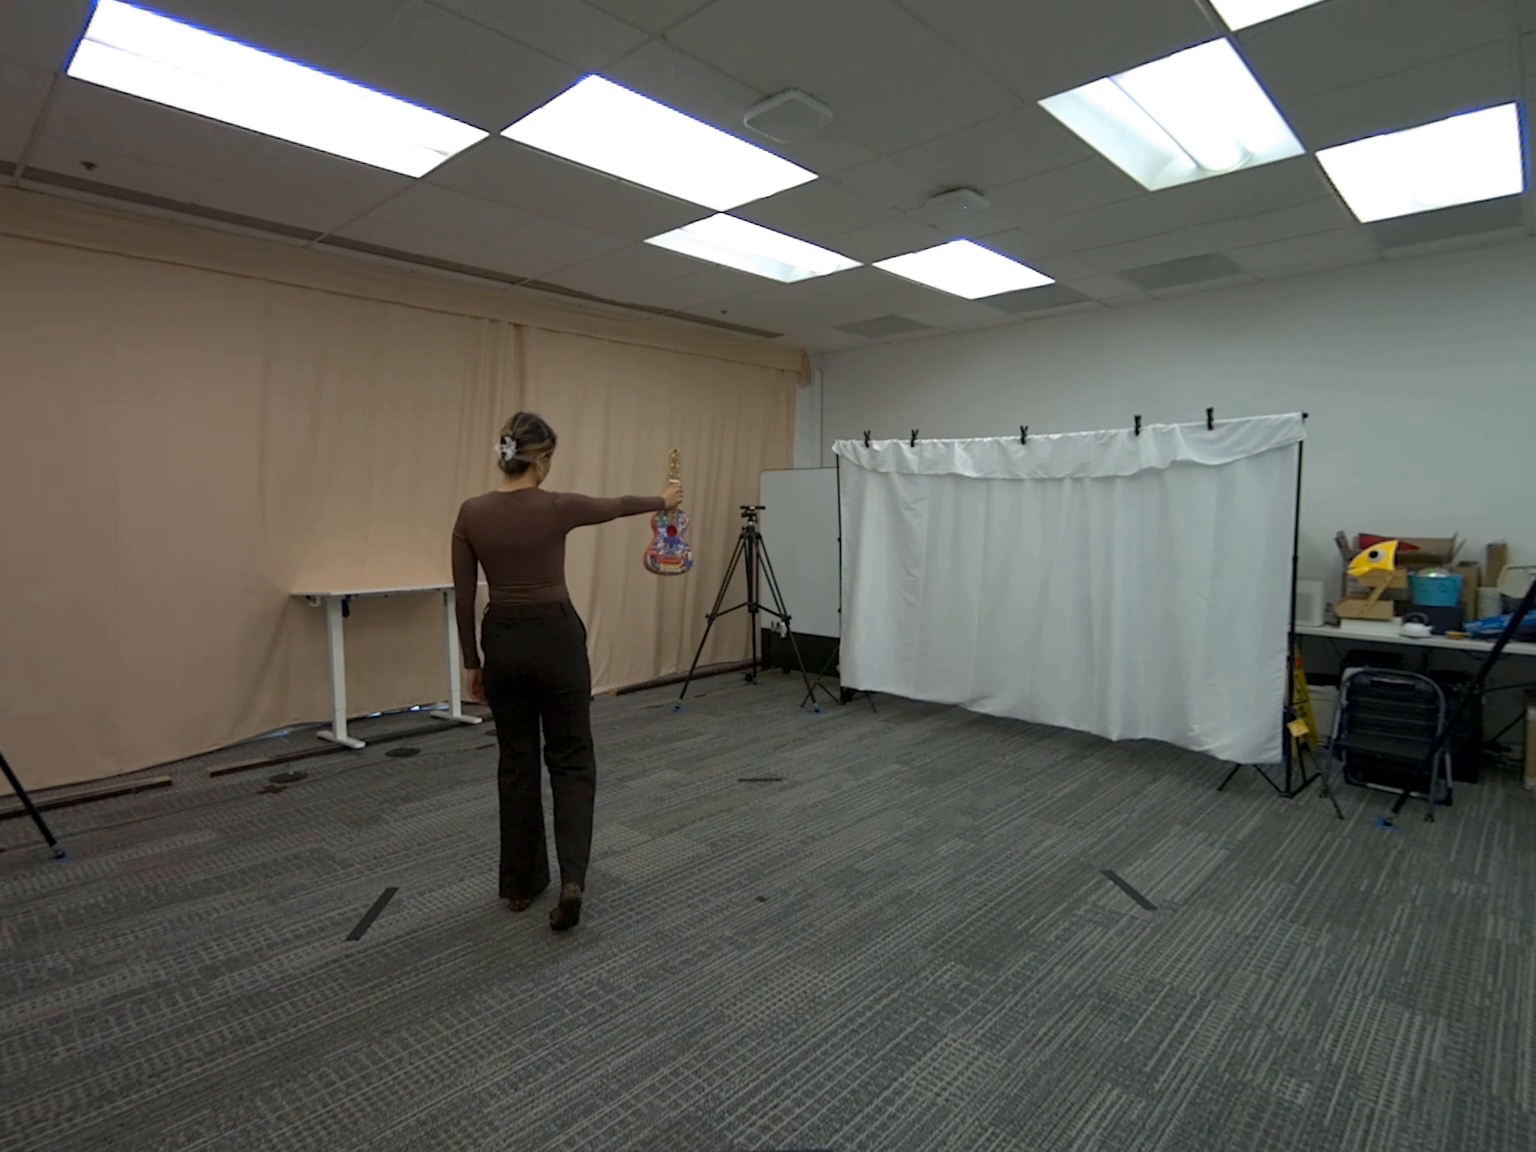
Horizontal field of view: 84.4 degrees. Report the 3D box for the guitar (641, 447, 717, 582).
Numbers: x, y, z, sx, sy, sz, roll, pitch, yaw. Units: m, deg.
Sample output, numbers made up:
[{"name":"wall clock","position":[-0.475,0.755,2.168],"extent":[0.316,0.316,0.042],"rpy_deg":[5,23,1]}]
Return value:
[{"name":"guitar","position":[-0.356,-0.245,3.376],"extent":[0.190,0.499,0.072],"rpy_deg":[13,-9,-15]}]
